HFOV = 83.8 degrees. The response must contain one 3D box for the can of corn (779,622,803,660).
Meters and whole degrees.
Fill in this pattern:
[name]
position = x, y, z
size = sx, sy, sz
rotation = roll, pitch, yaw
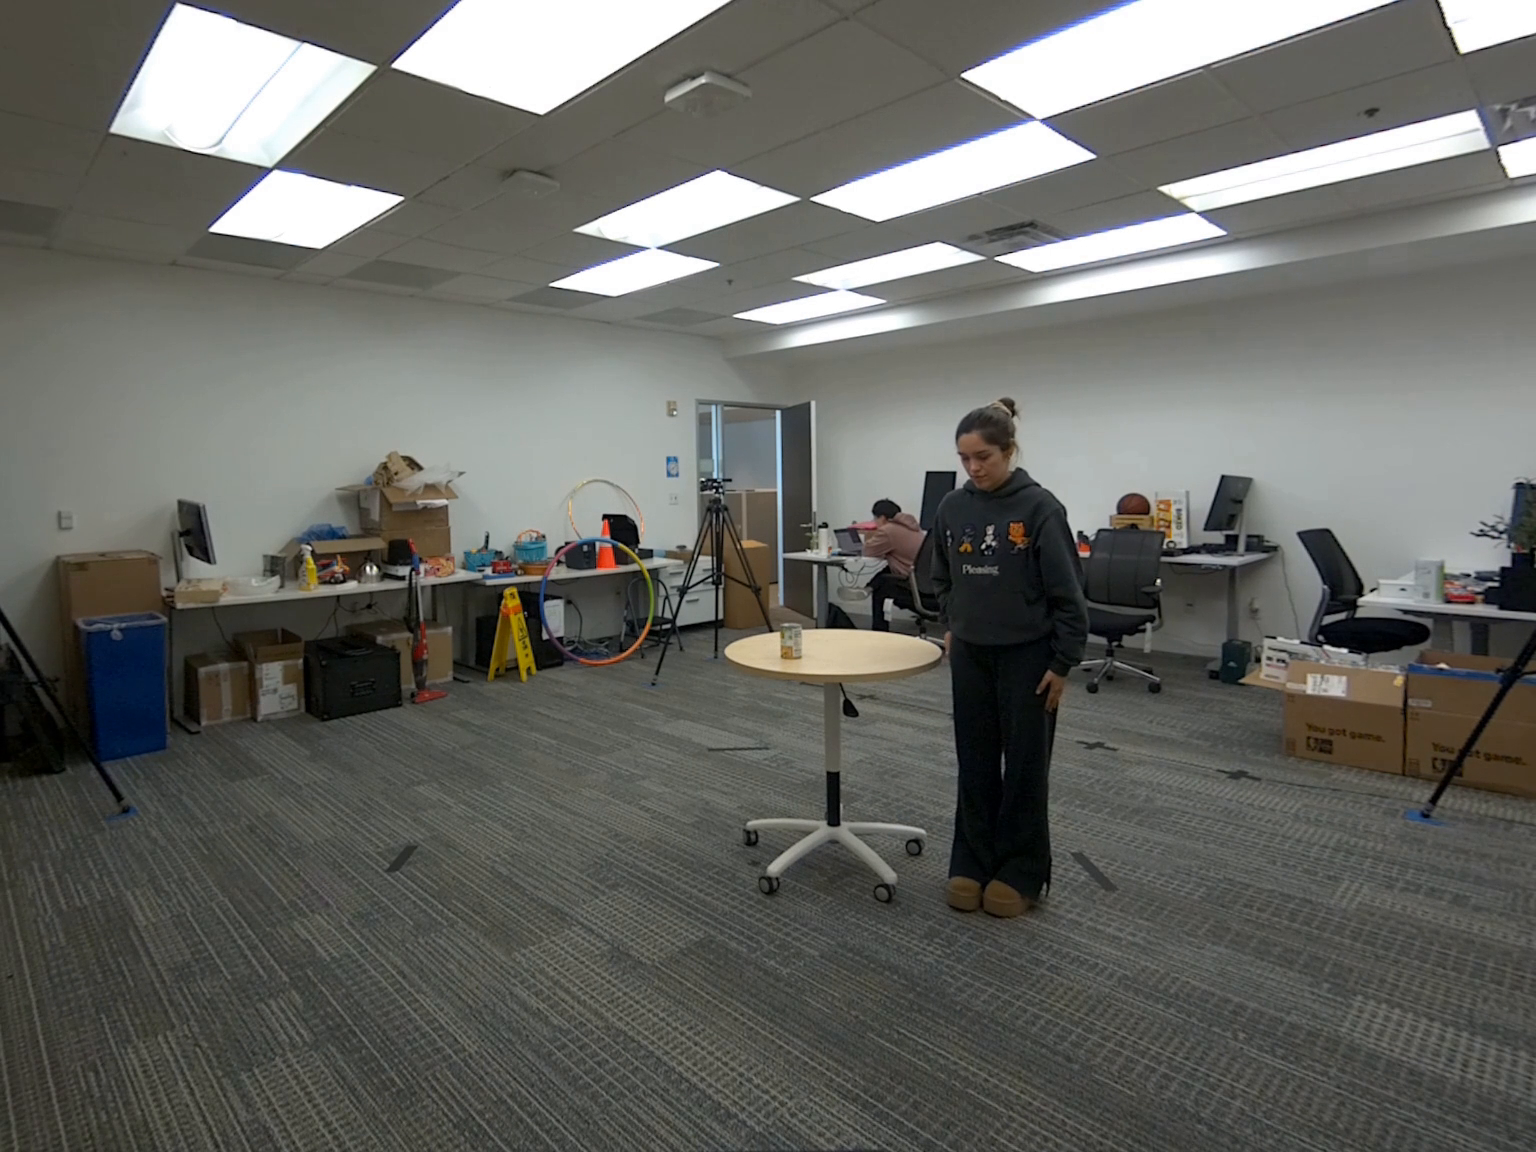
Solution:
[can of corn]
position = 0.083, 0.220, 2.934
size = 0.074, 0.110, 0.074
rotation = -2, 5, -1
